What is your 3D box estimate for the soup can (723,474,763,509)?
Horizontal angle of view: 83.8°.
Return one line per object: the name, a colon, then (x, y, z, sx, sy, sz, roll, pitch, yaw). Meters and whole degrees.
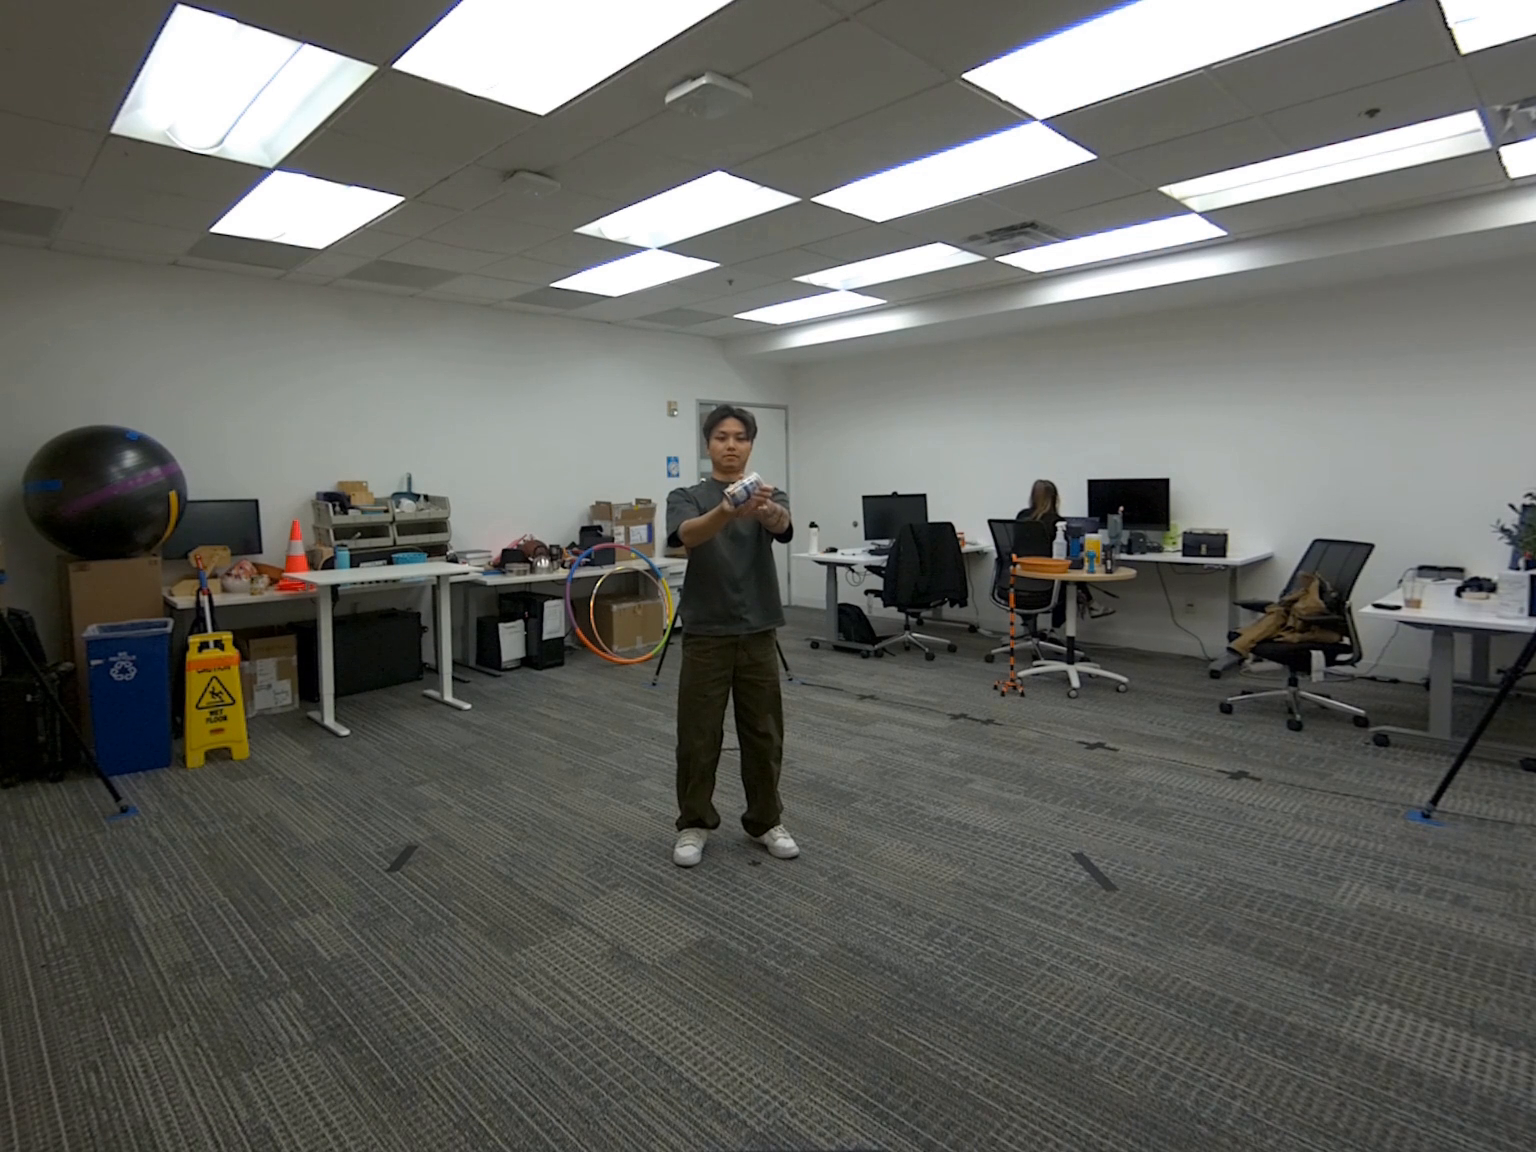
soup can: (-0.077, -0.268, 2.652, 0.121, 0.067, 0.068, -28, 7, -2)
